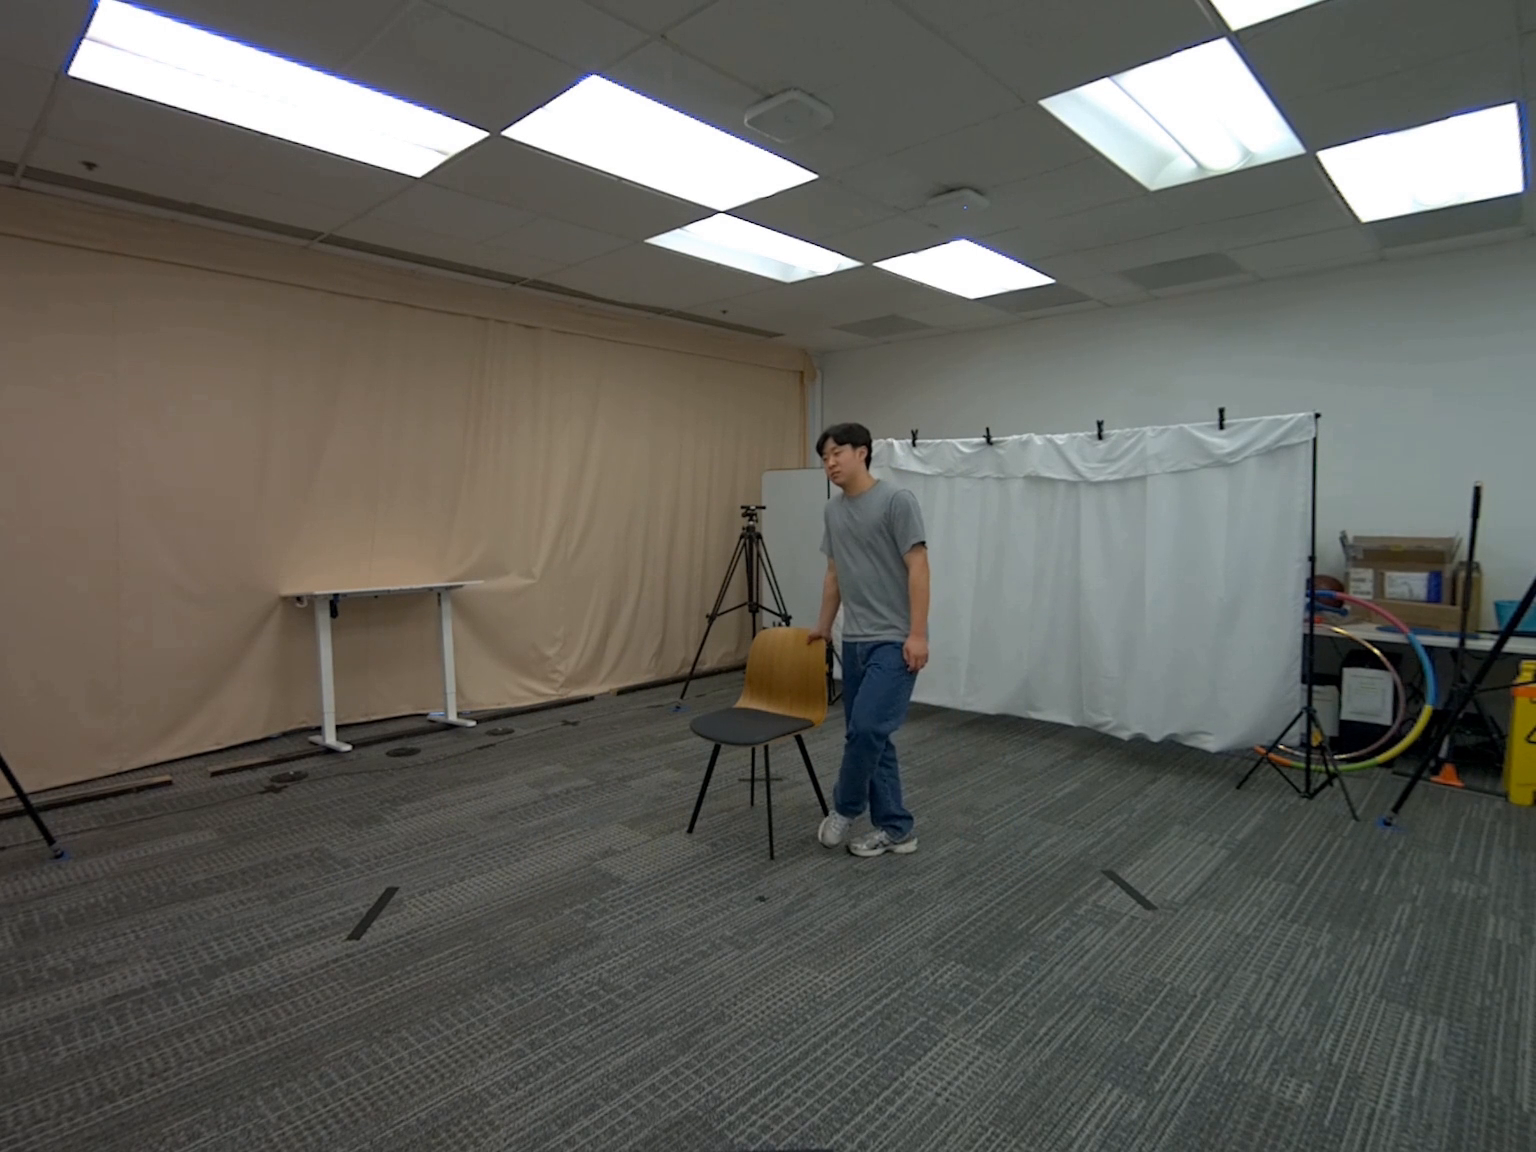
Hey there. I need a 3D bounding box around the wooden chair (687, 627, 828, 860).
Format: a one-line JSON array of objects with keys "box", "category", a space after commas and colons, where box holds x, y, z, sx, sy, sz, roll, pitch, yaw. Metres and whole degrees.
[{"box": [-0.036, 0.667, 3.585, 0.493, 0.877, 0.506, 2, -1, 38], "category": "wooden chair"}]
